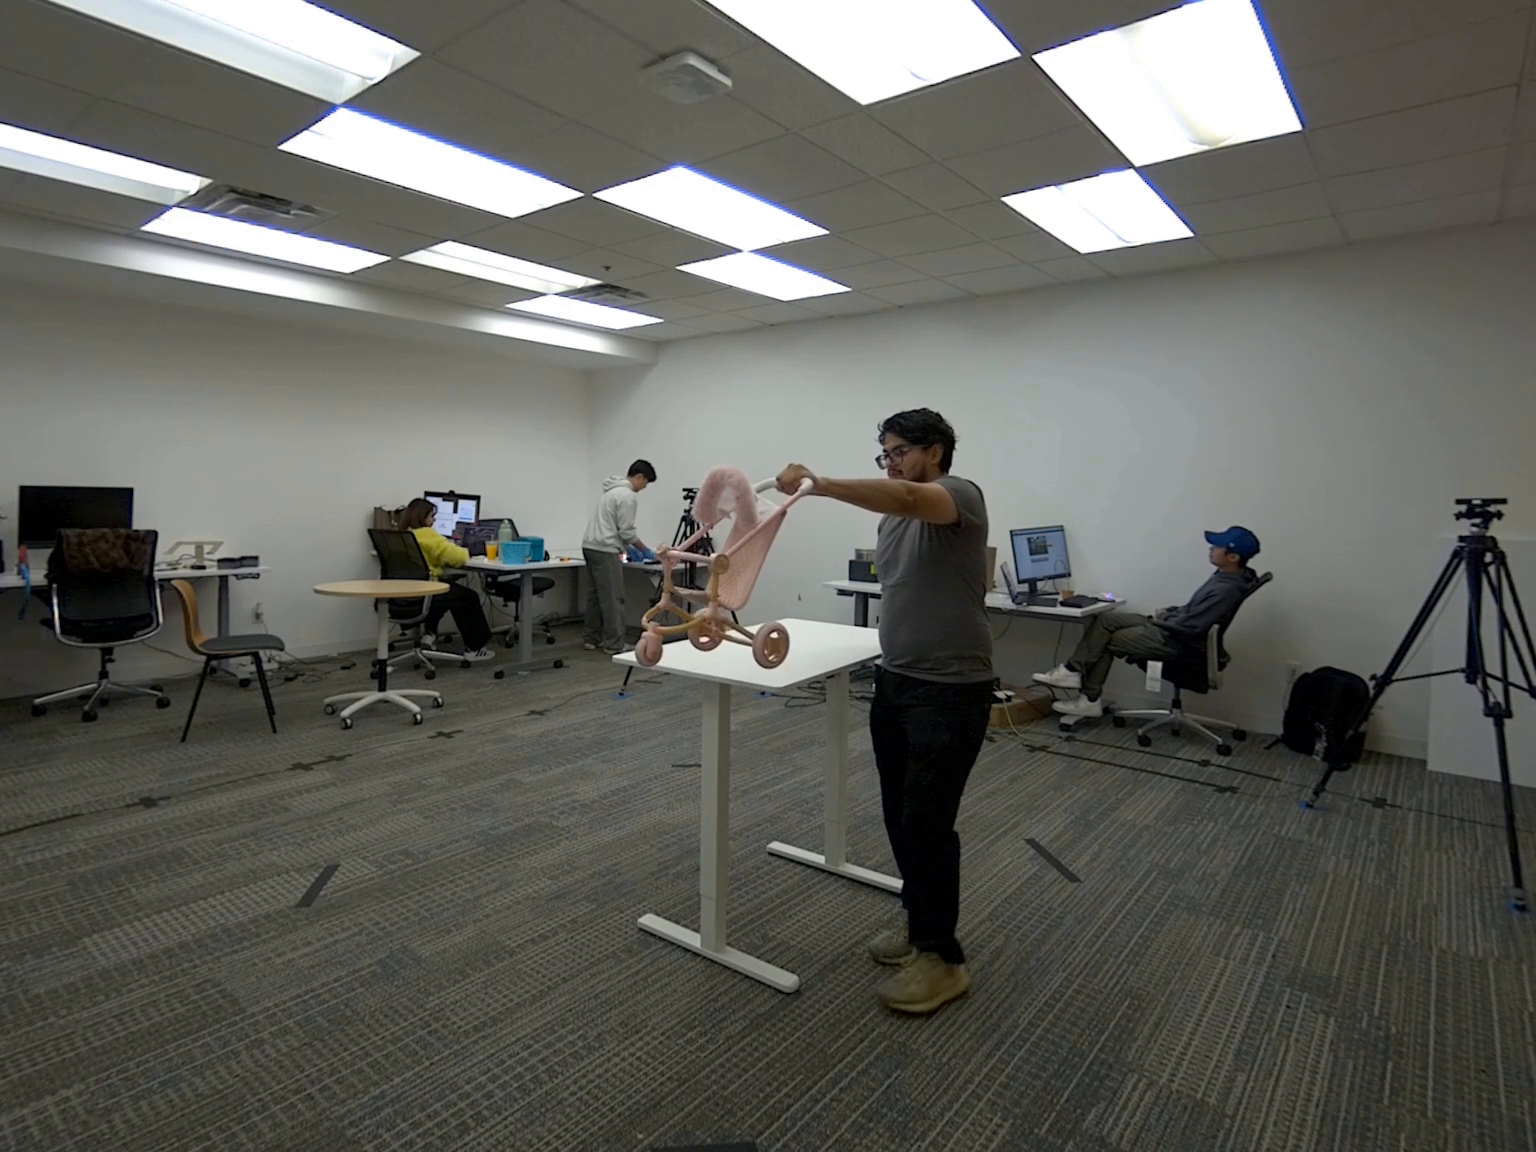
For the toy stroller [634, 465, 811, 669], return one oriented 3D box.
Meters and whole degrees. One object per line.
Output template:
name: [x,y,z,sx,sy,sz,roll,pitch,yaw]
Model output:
toy stroller: [-0.128,-0.023,2.026,0.329,0.537,0.290,17,-6,-33]
